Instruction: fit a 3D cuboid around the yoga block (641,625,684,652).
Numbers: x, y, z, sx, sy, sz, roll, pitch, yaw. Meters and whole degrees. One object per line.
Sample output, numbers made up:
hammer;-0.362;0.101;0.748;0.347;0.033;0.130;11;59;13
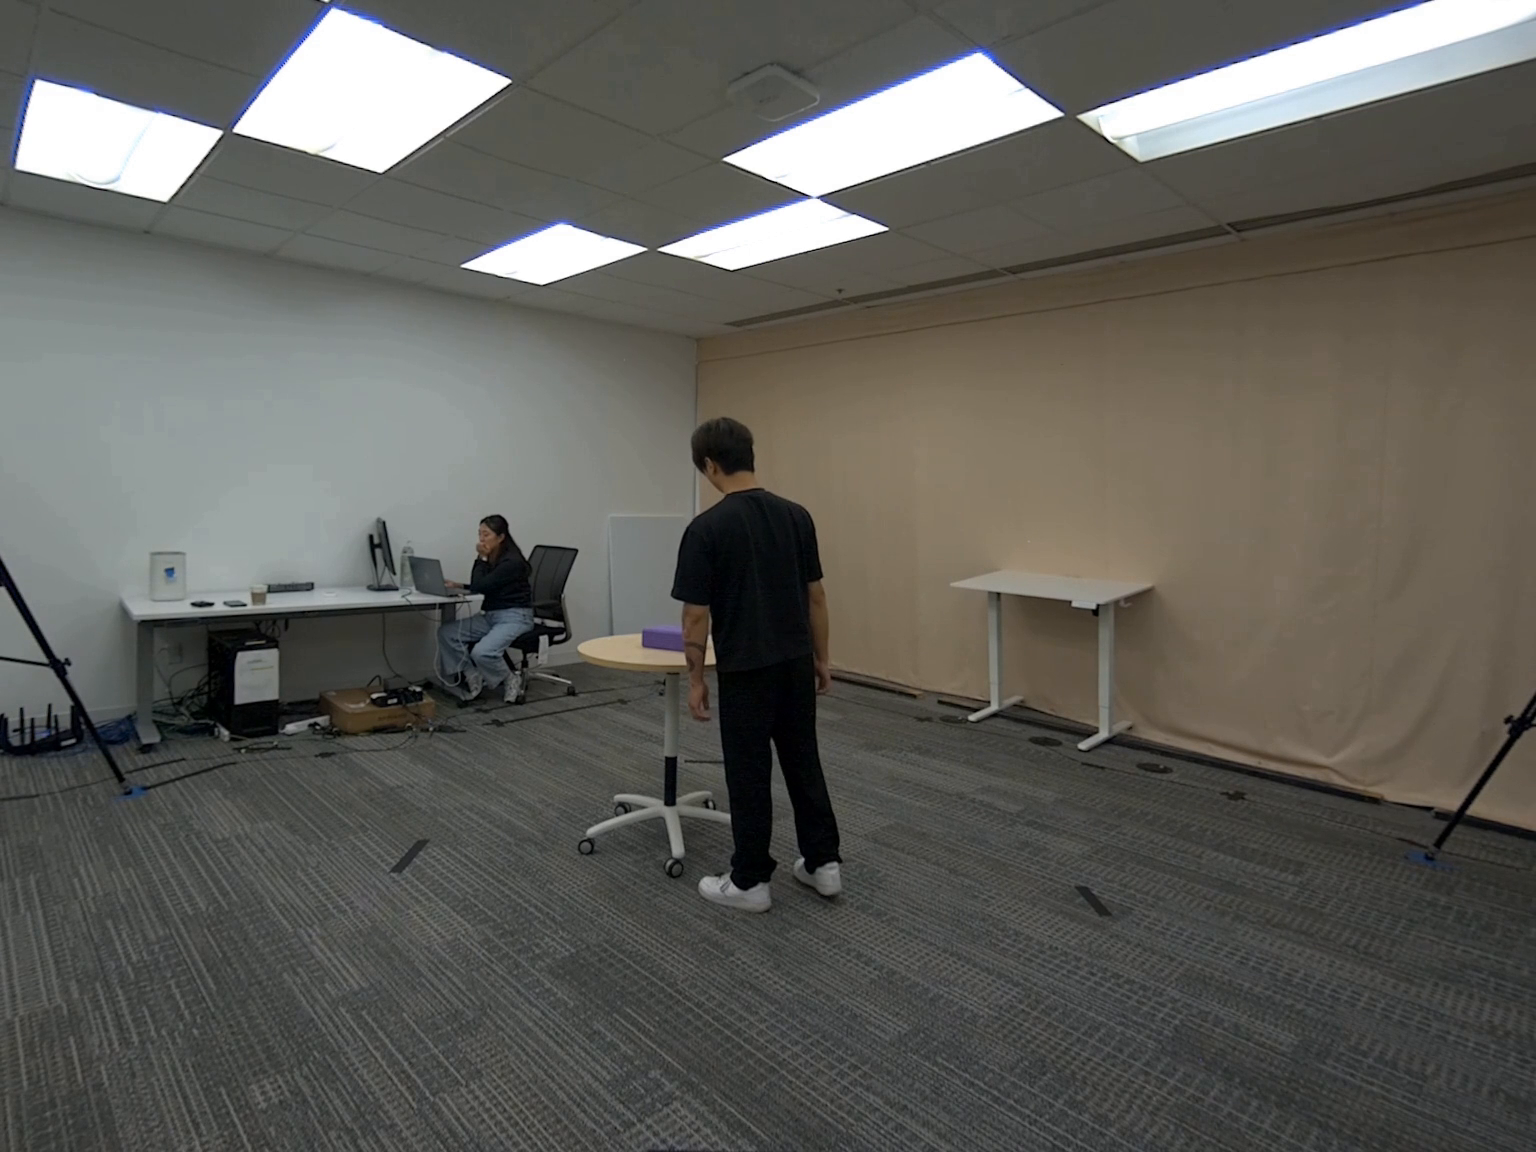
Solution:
yoga block;-0.385;0.250;3.397;0.233;0.076;0.147;3;5;23
